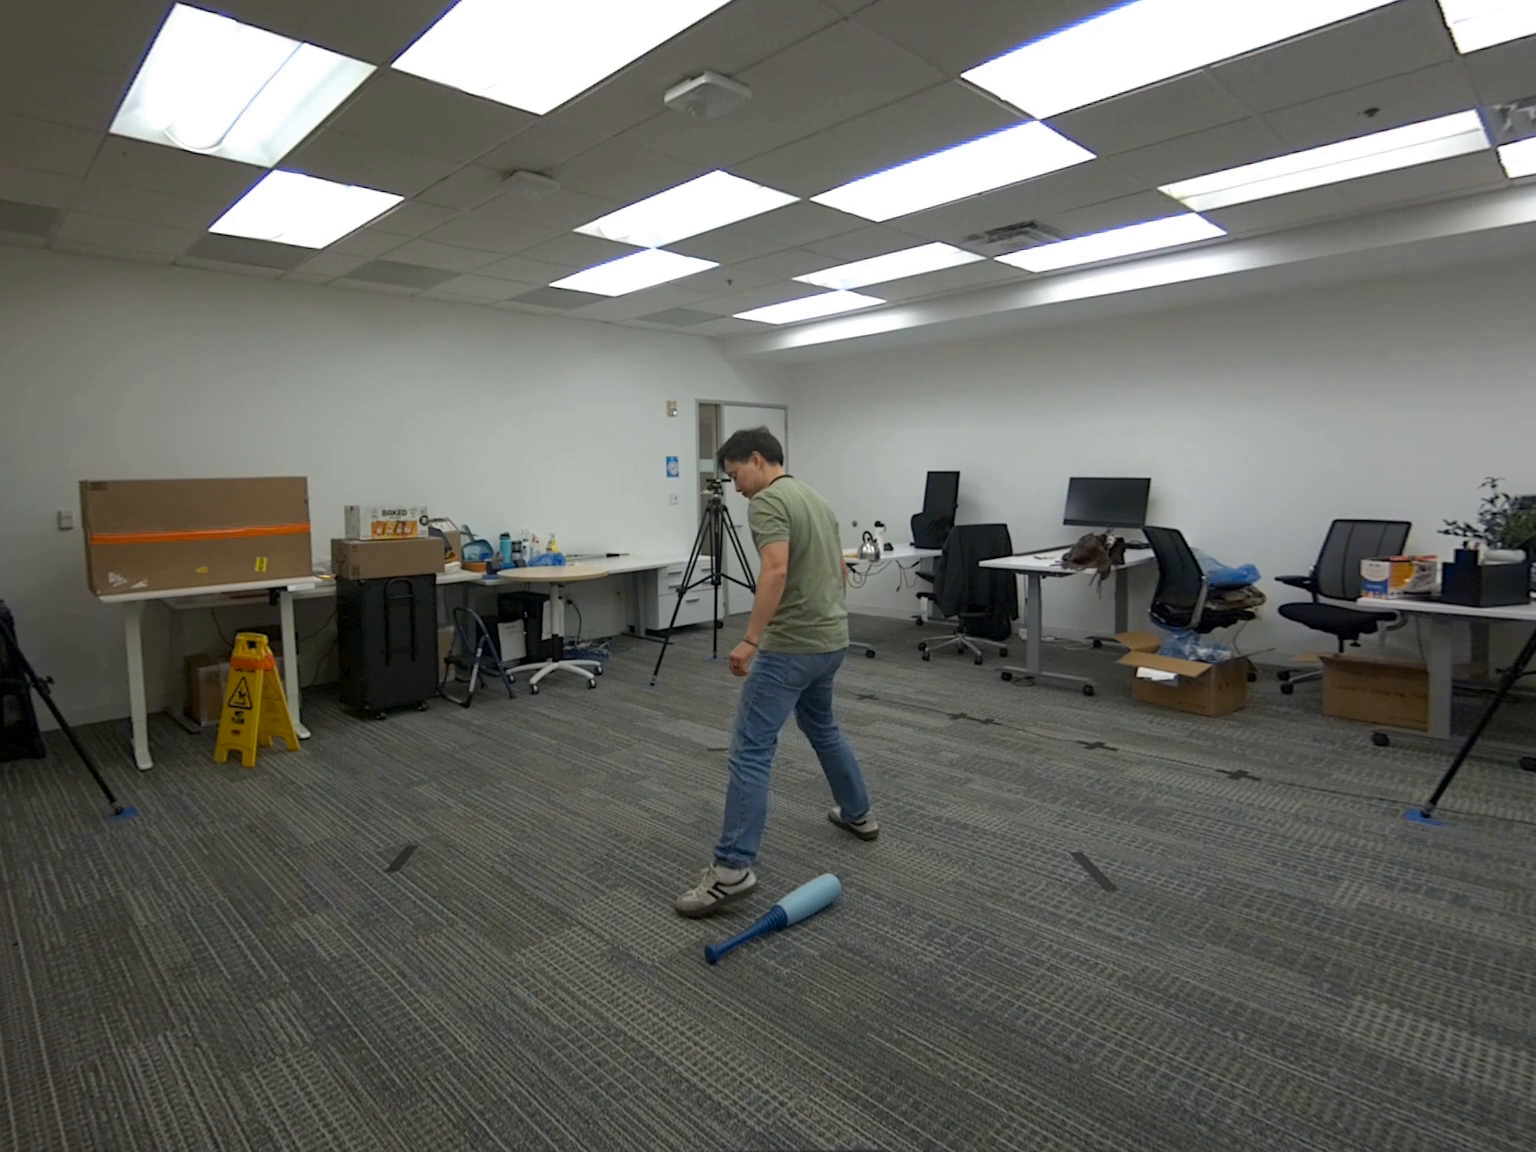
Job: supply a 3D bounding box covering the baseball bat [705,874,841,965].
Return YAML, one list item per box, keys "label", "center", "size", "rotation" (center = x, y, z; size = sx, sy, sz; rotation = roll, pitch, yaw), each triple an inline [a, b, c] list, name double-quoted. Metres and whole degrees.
- label: "baseball bat"
  center: [0.030, 1.061, 2.640]
  size: [0.530, 0.088, 0.092]
  rotation: [-11, 10, -41]
